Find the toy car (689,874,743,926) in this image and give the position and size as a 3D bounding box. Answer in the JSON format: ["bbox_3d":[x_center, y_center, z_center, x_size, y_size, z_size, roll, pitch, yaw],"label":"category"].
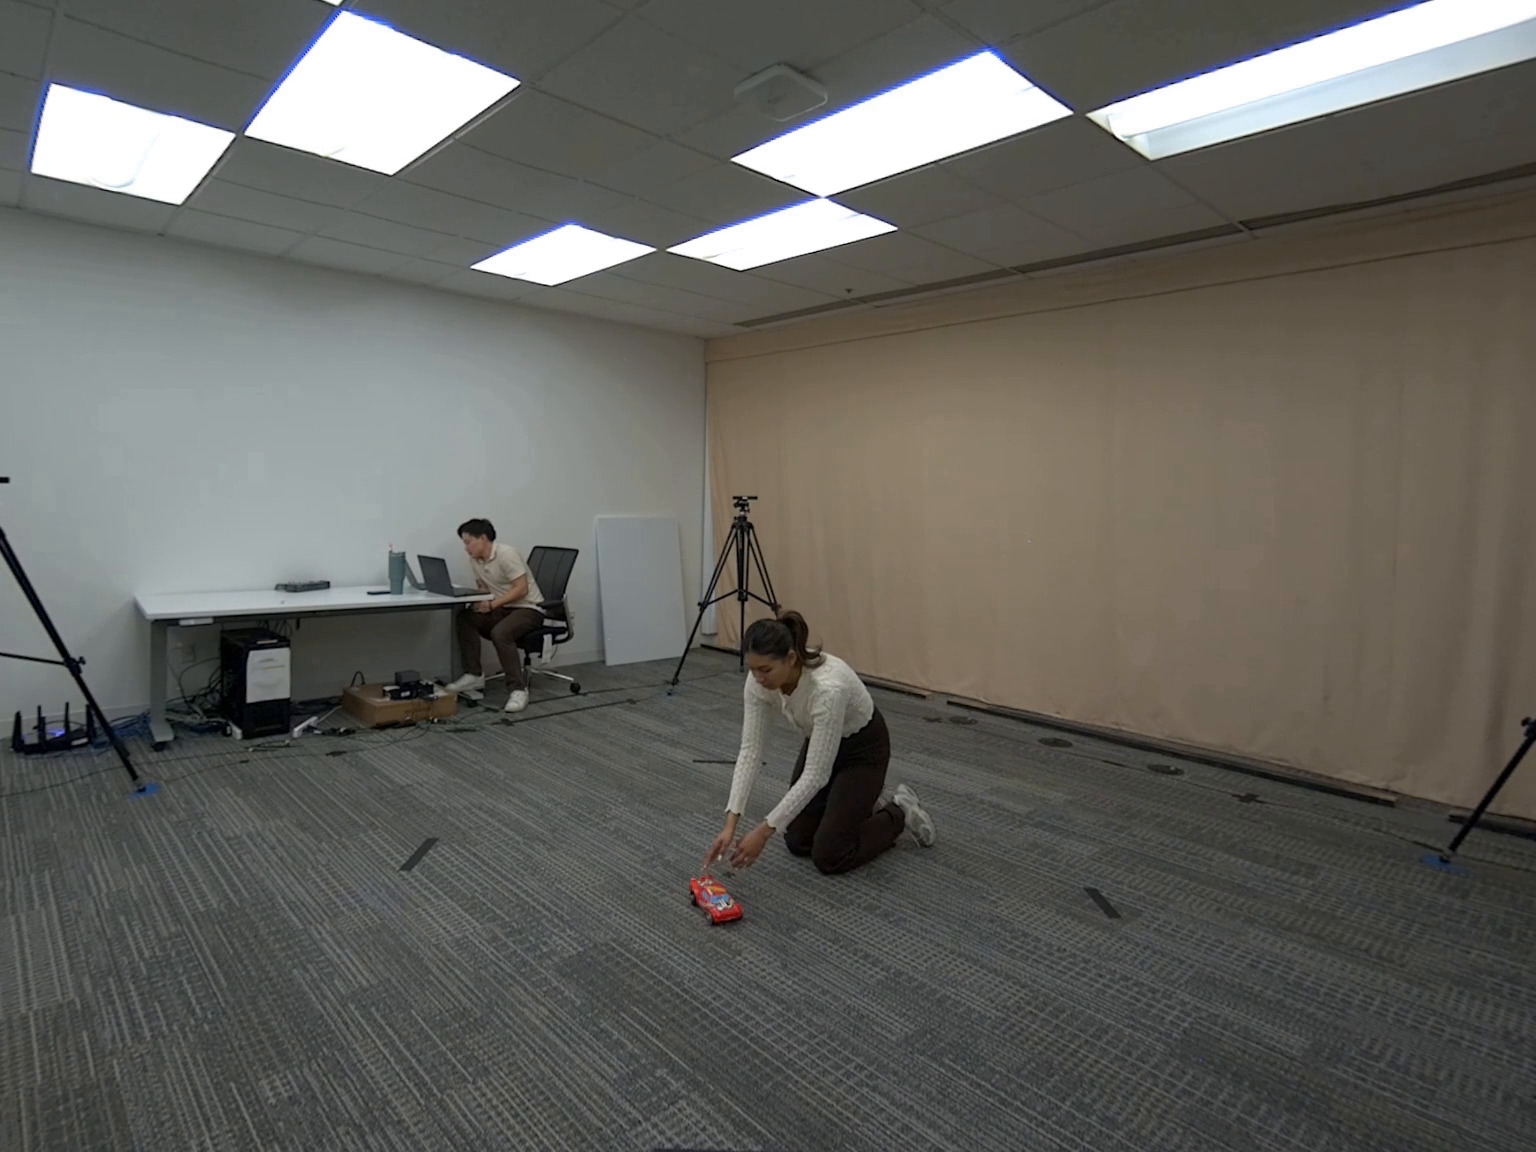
[{"bbox_3d":[-0.188,1.095,2.844,0.128,0.082,0.261,-2,17,-25],"label":"toy car"}]
